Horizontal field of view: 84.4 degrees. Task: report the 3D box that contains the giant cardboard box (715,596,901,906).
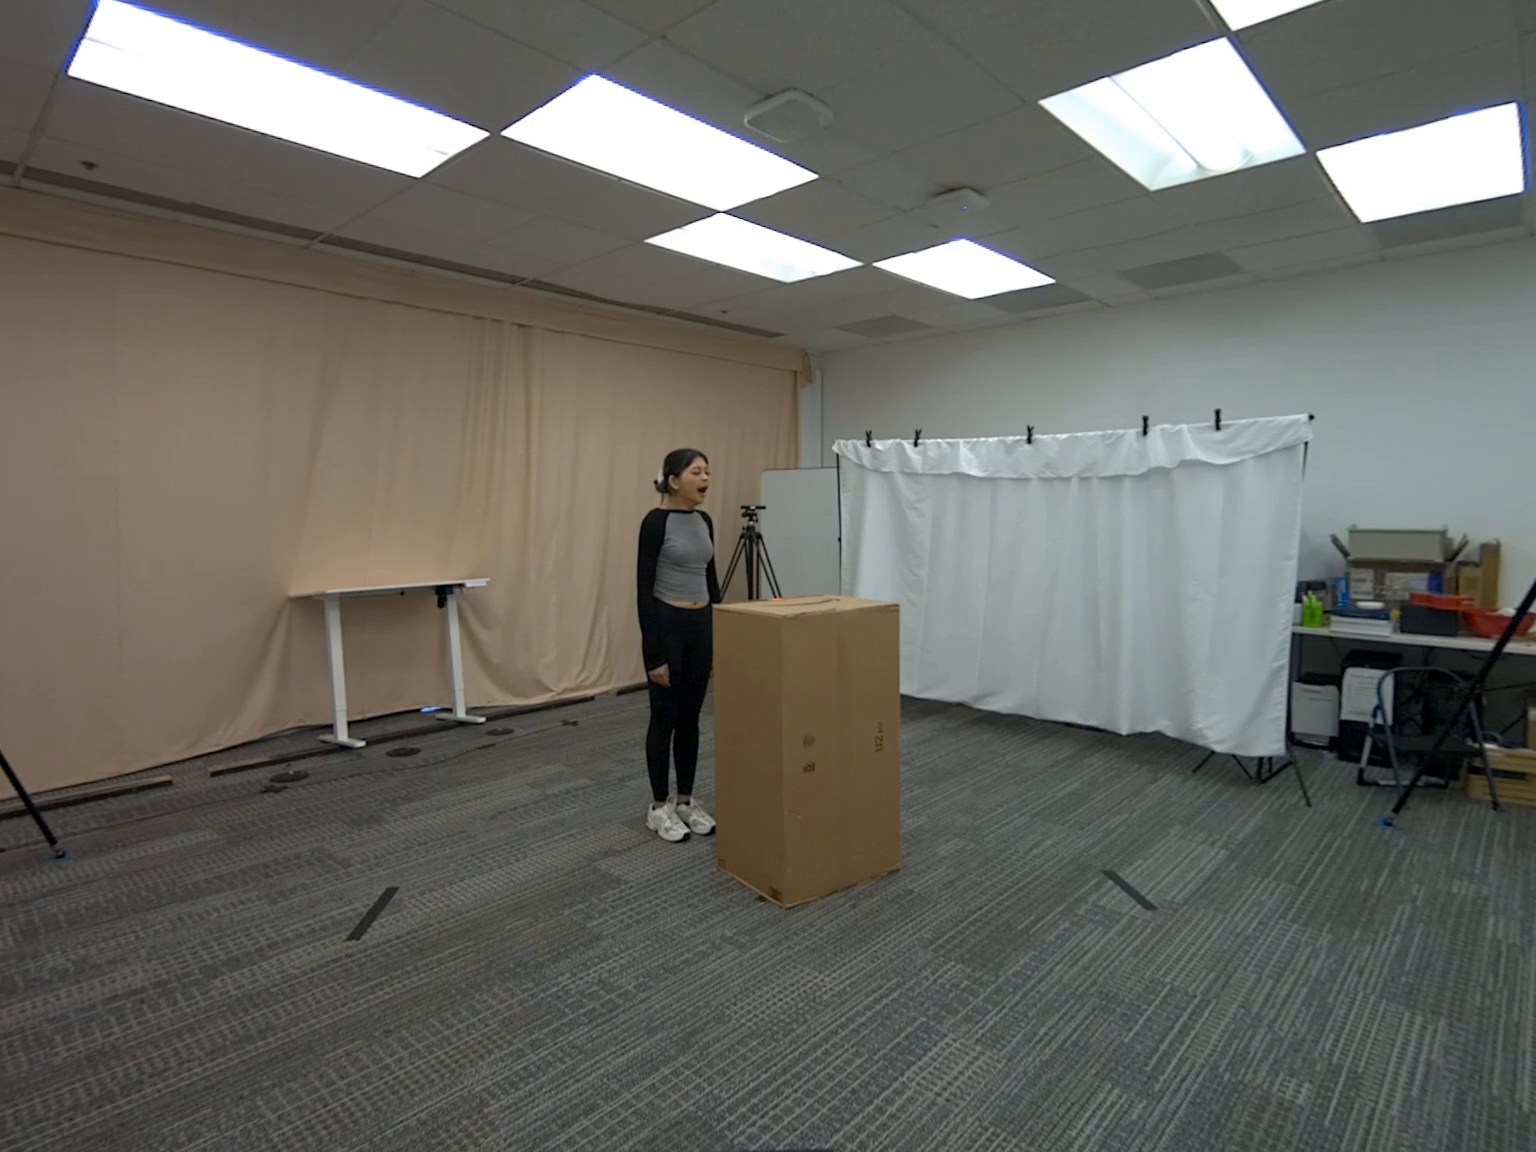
[{"bbox_3d":[0.150,0.616,3.210,0.567,1.024,0.461,-3,5,-37],"label":"giant cardboard box"}]
